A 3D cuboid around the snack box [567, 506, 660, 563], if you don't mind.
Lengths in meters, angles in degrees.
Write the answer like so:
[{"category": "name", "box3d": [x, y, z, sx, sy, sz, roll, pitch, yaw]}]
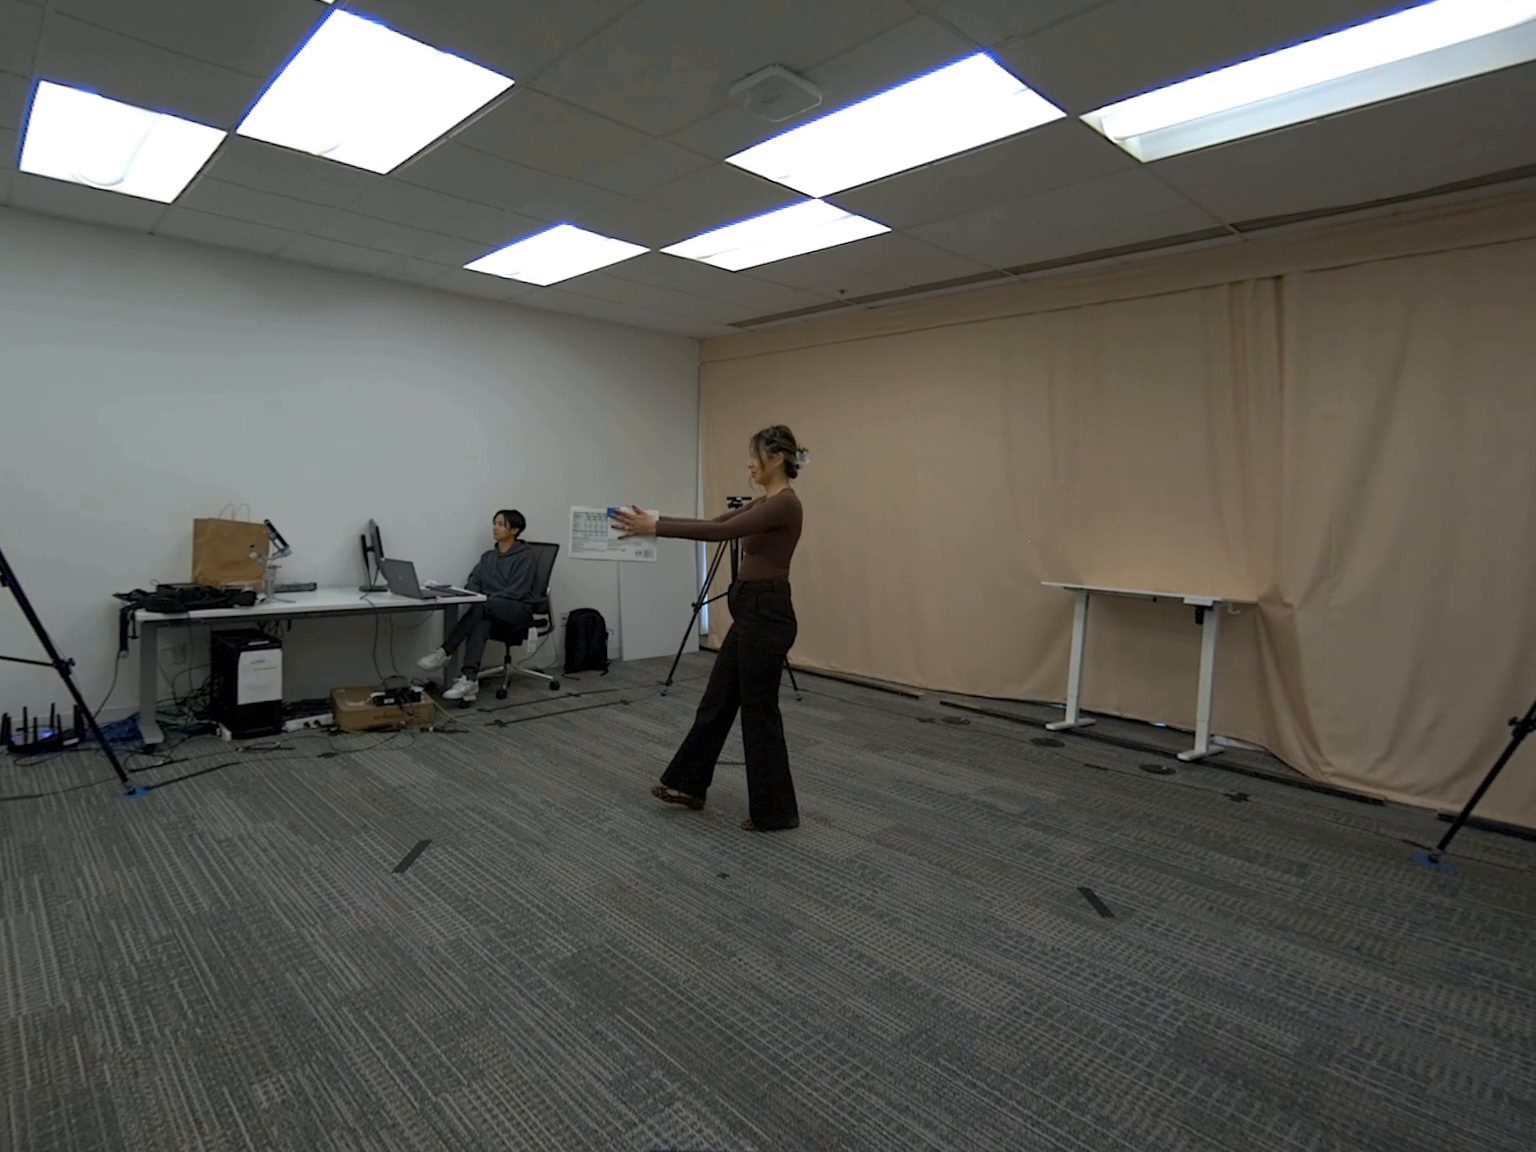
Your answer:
[{"category": "snack box", "box3d": [-0.641, -0.181, 3.442, 0.338, 0.205, 0.409, 3, 5, -8]}]
